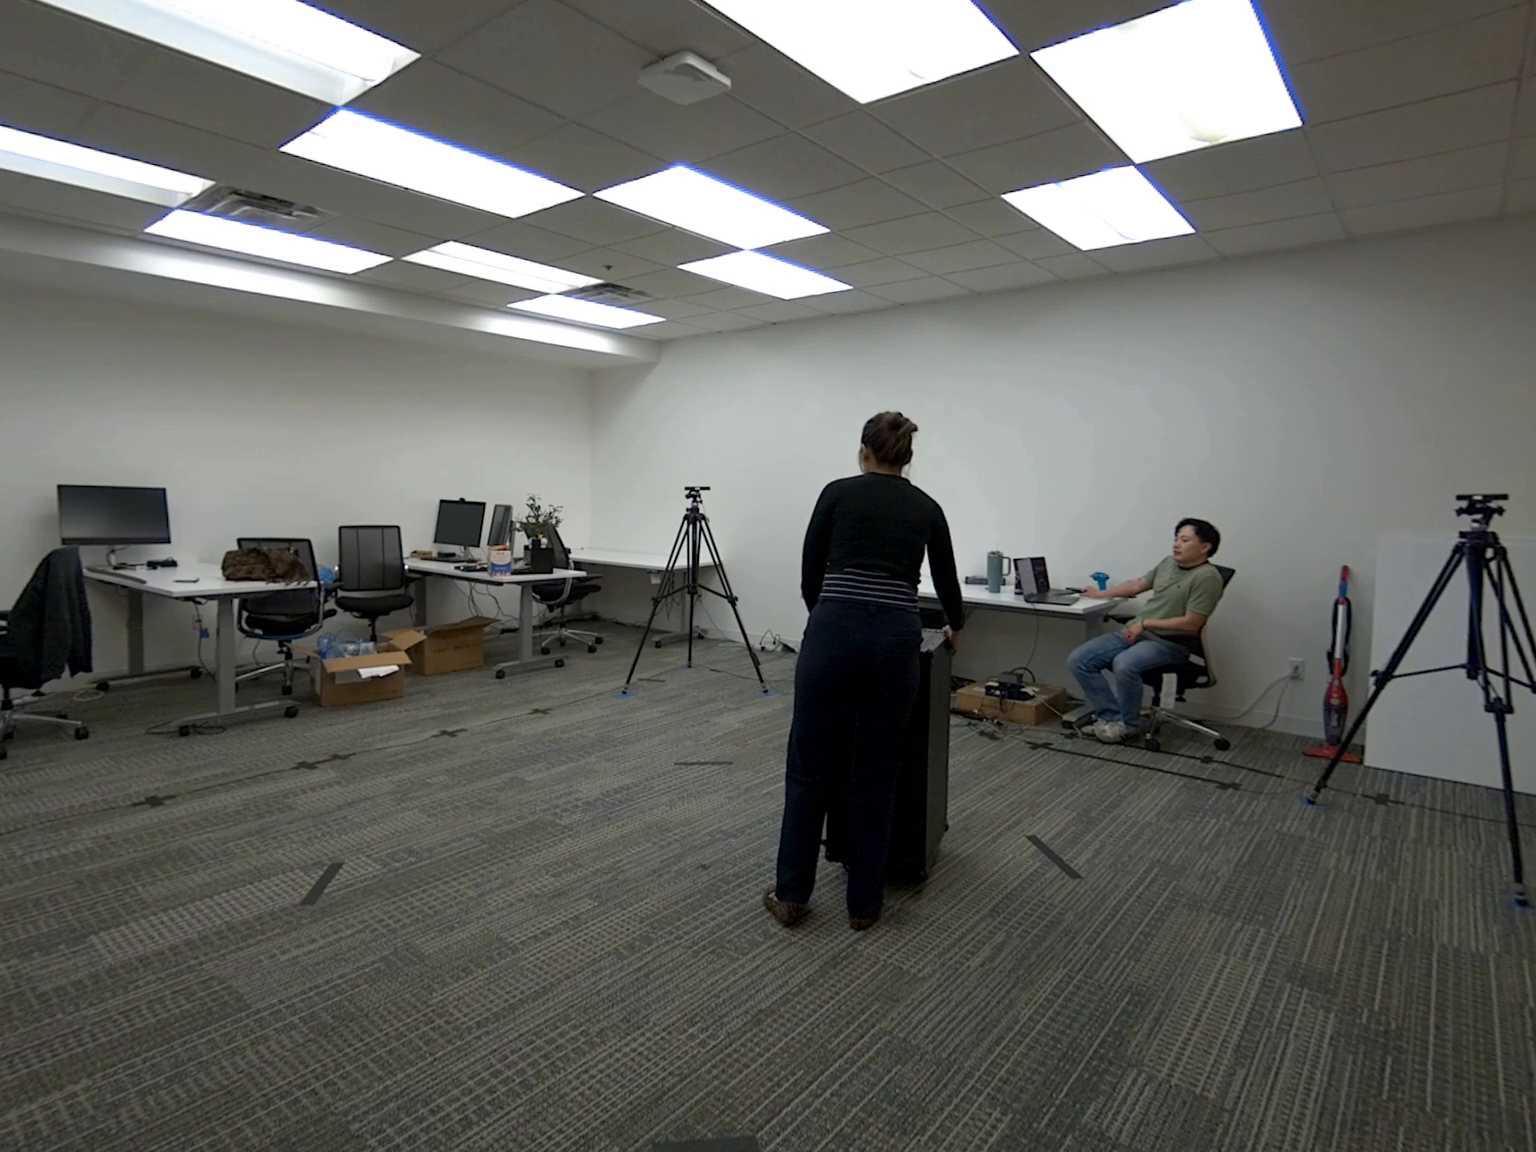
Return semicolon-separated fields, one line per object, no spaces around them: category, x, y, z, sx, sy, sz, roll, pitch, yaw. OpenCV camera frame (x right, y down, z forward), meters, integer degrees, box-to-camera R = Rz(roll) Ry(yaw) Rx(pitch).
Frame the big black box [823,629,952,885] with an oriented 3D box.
big black box;0.441;0.651;3.160;0.405;0.858;0.511;2;4;21
